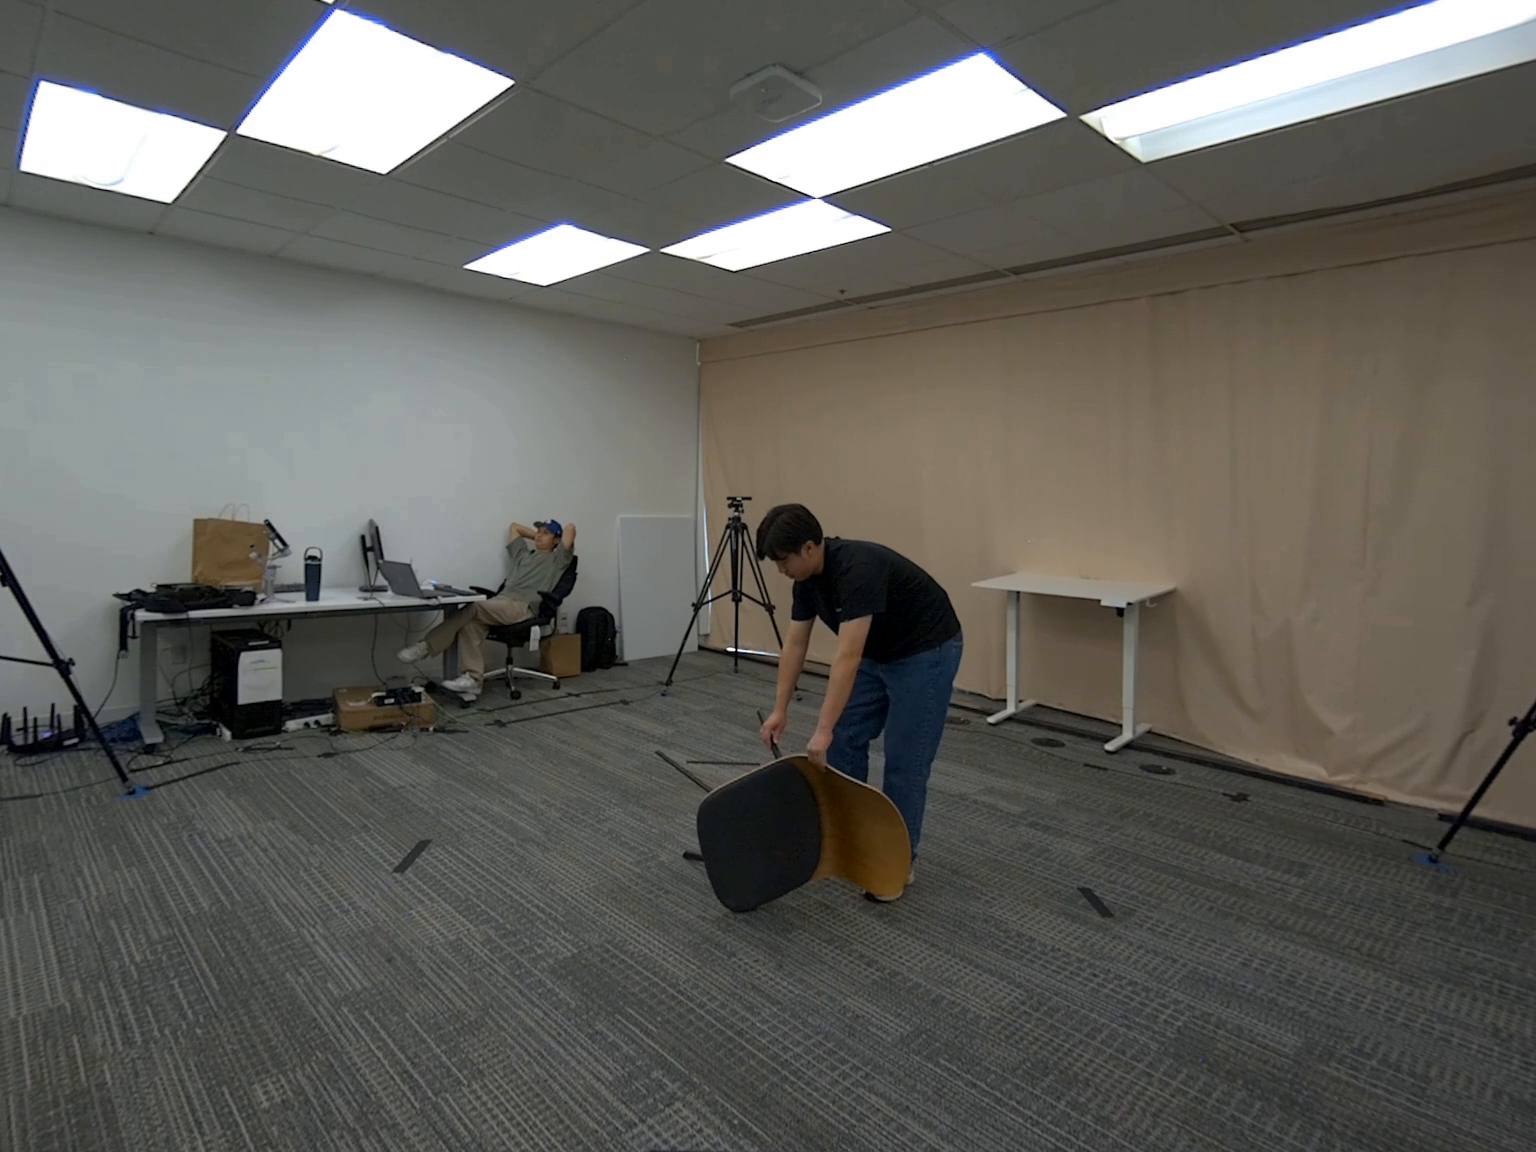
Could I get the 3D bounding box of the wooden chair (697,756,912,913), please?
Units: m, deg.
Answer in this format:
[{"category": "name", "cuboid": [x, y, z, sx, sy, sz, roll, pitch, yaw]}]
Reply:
[{"category": "wooden chair", "cuboid": [0.001, 0.870, 2.898, 0.516, 0.473, 0.898, -19, 15, -28]}]
